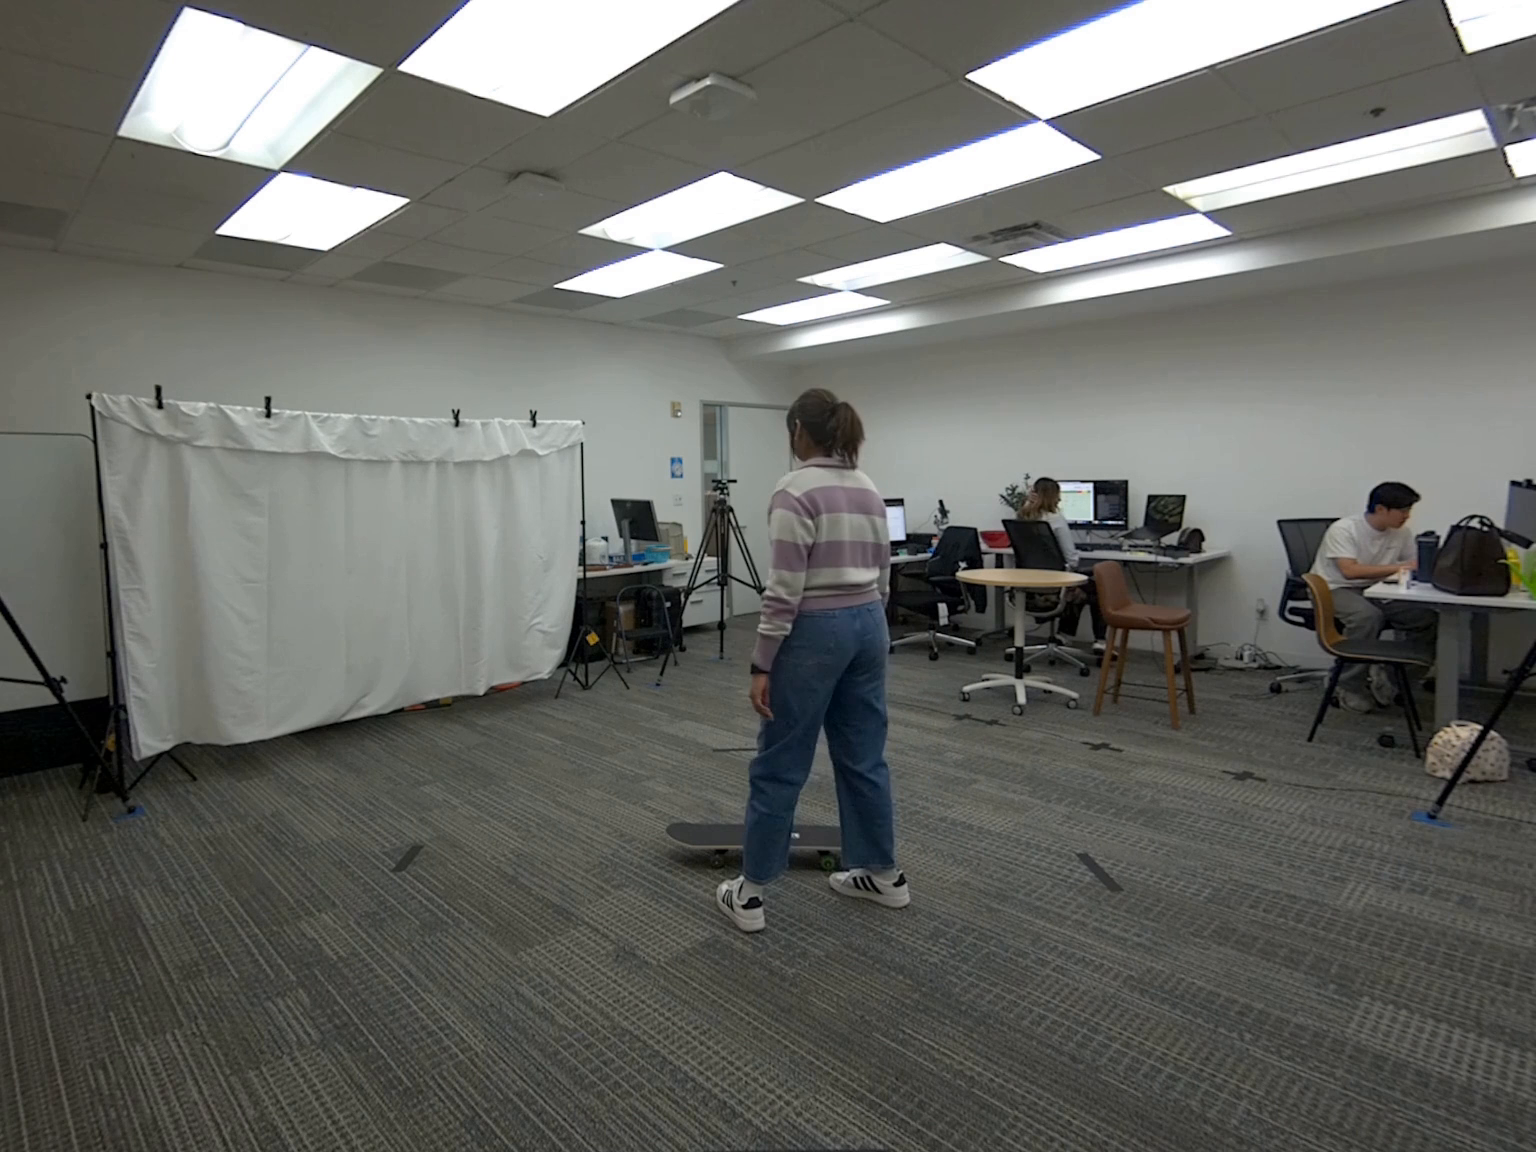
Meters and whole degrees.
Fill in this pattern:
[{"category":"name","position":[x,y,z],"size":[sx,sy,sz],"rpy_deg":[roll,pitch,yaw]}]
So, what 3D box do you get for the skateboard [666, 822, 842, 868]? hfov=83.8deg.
[{"category":"skateboard","position":[0.018,0.984,3.142],"size":[0.788,0.110,0.194],"rpy_deg":[0,6,3]}]
